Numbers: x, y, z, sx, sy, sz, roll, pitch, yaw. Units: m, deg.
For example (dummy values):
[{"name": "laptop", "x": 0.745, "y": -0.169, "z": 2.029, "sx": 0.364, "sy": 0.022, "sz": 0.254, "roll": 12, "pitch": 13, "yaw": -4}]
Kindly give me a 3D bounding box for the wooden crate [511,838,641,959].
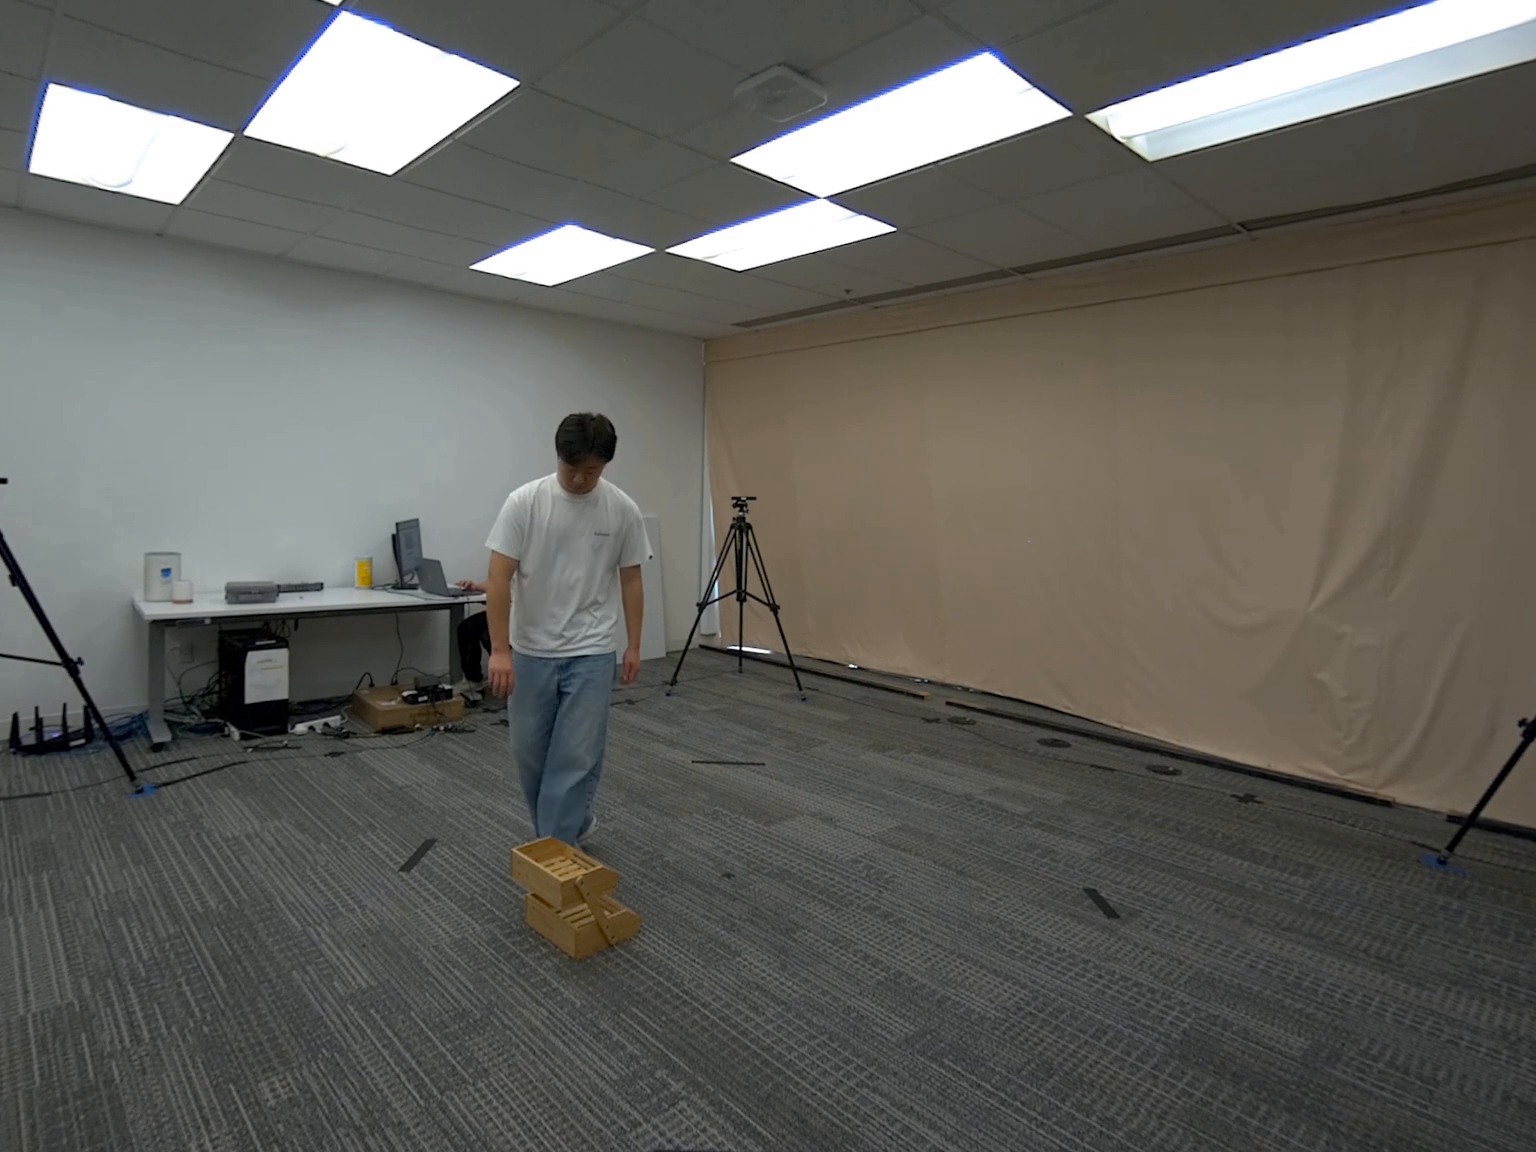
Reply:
[{"name": "wooden crate", "x": -0.616, "y": 1.003, "z": 2.681, "sx": 0.333, "sy": 0.272, "sz": 0.295, "roll": 5, "pitch": 7, "yaw": 45}]
